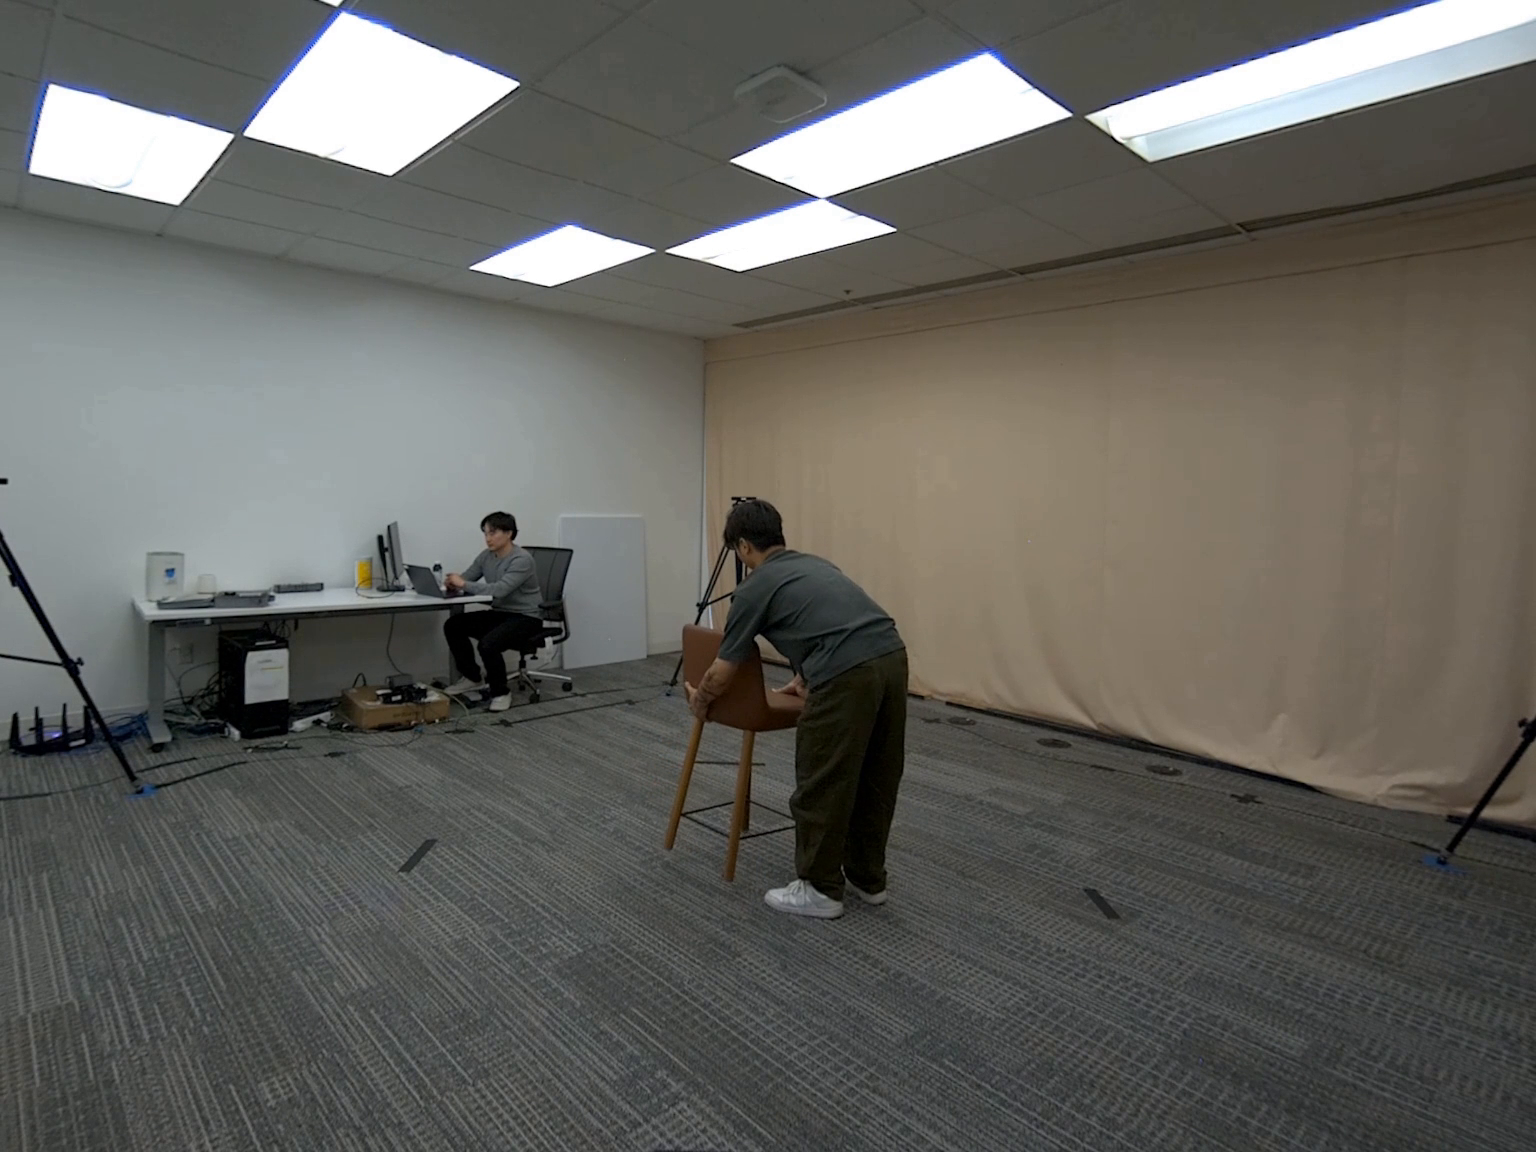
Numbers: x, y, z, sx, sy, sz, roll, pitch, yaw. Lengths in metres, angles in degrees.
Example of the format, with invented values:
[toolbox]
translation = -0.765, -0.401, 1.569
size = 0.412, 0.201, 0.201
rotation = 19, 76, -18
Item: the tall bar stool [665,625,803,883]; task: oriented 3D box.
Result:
[tall bar stool]
translation = -0.089, 0.638, 3.246
size = 0.456, 0.890, 0.468
rotation = 4, 0, -44
